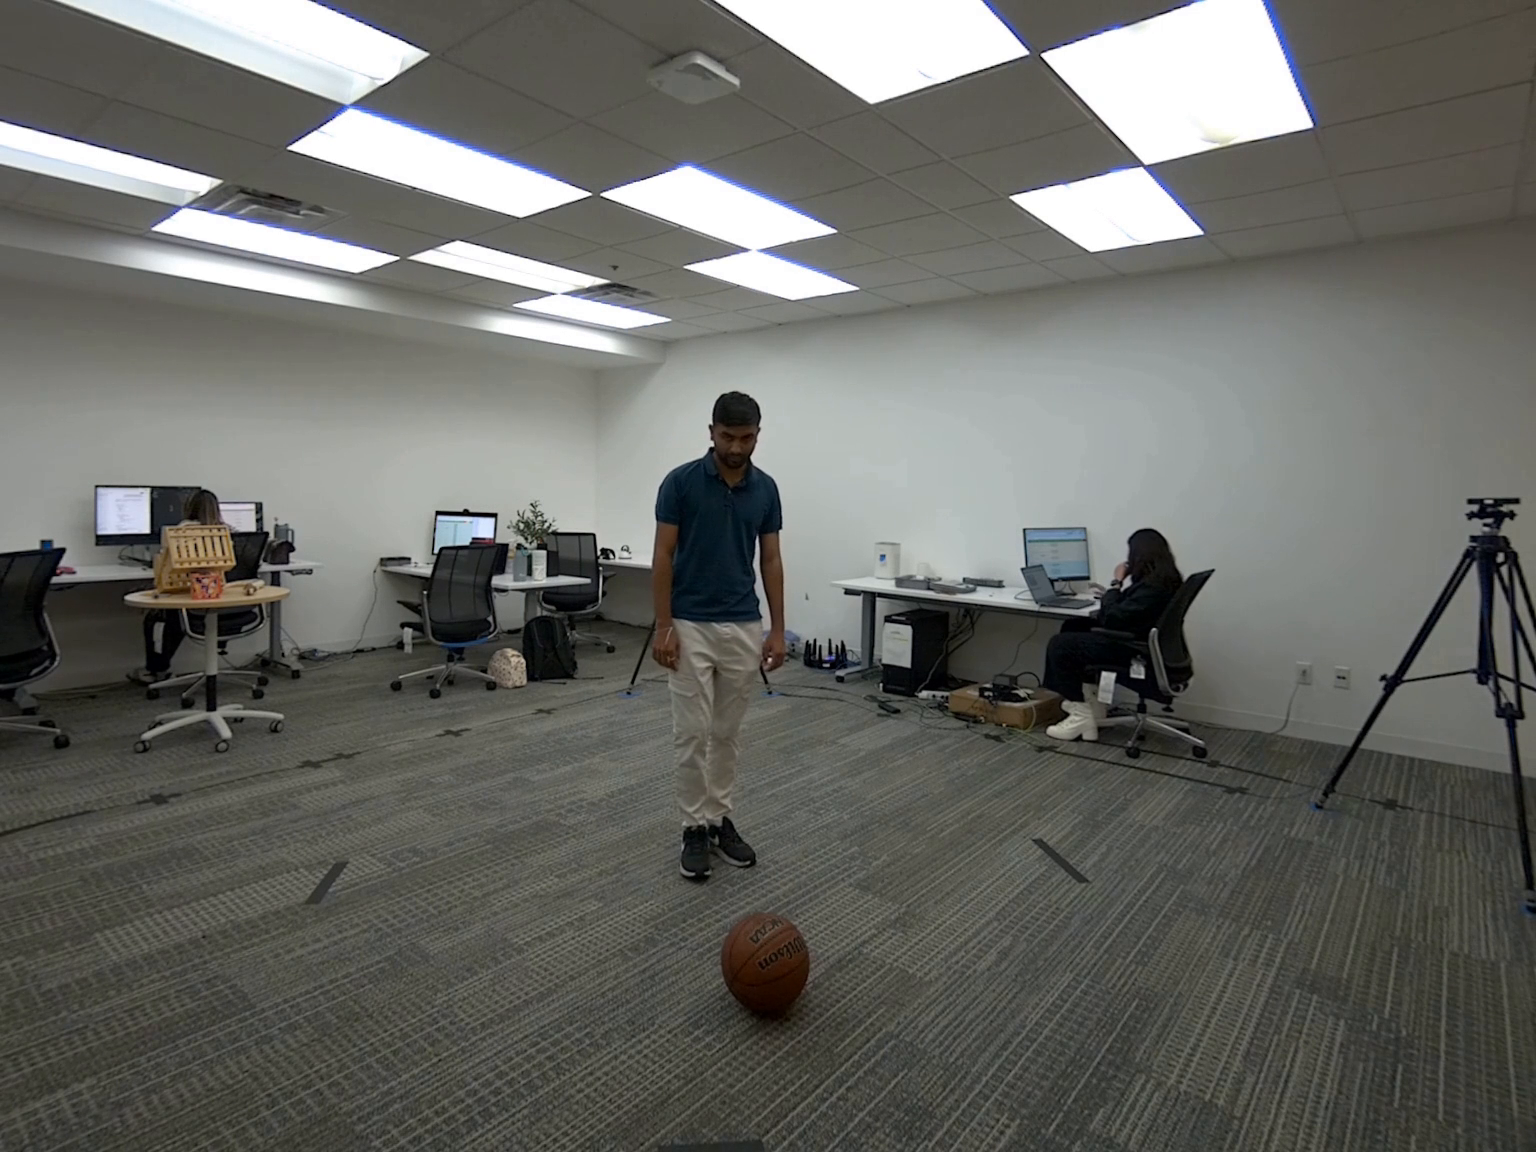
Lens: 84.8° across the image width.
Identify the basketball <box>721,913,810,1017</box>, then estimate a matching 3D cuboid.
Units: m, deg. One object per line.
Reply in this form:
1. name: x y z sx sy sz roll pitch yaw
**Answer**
1. basketball: -0.010 1.032 2.286 0.235 0.235 0.237 1 4 -2
